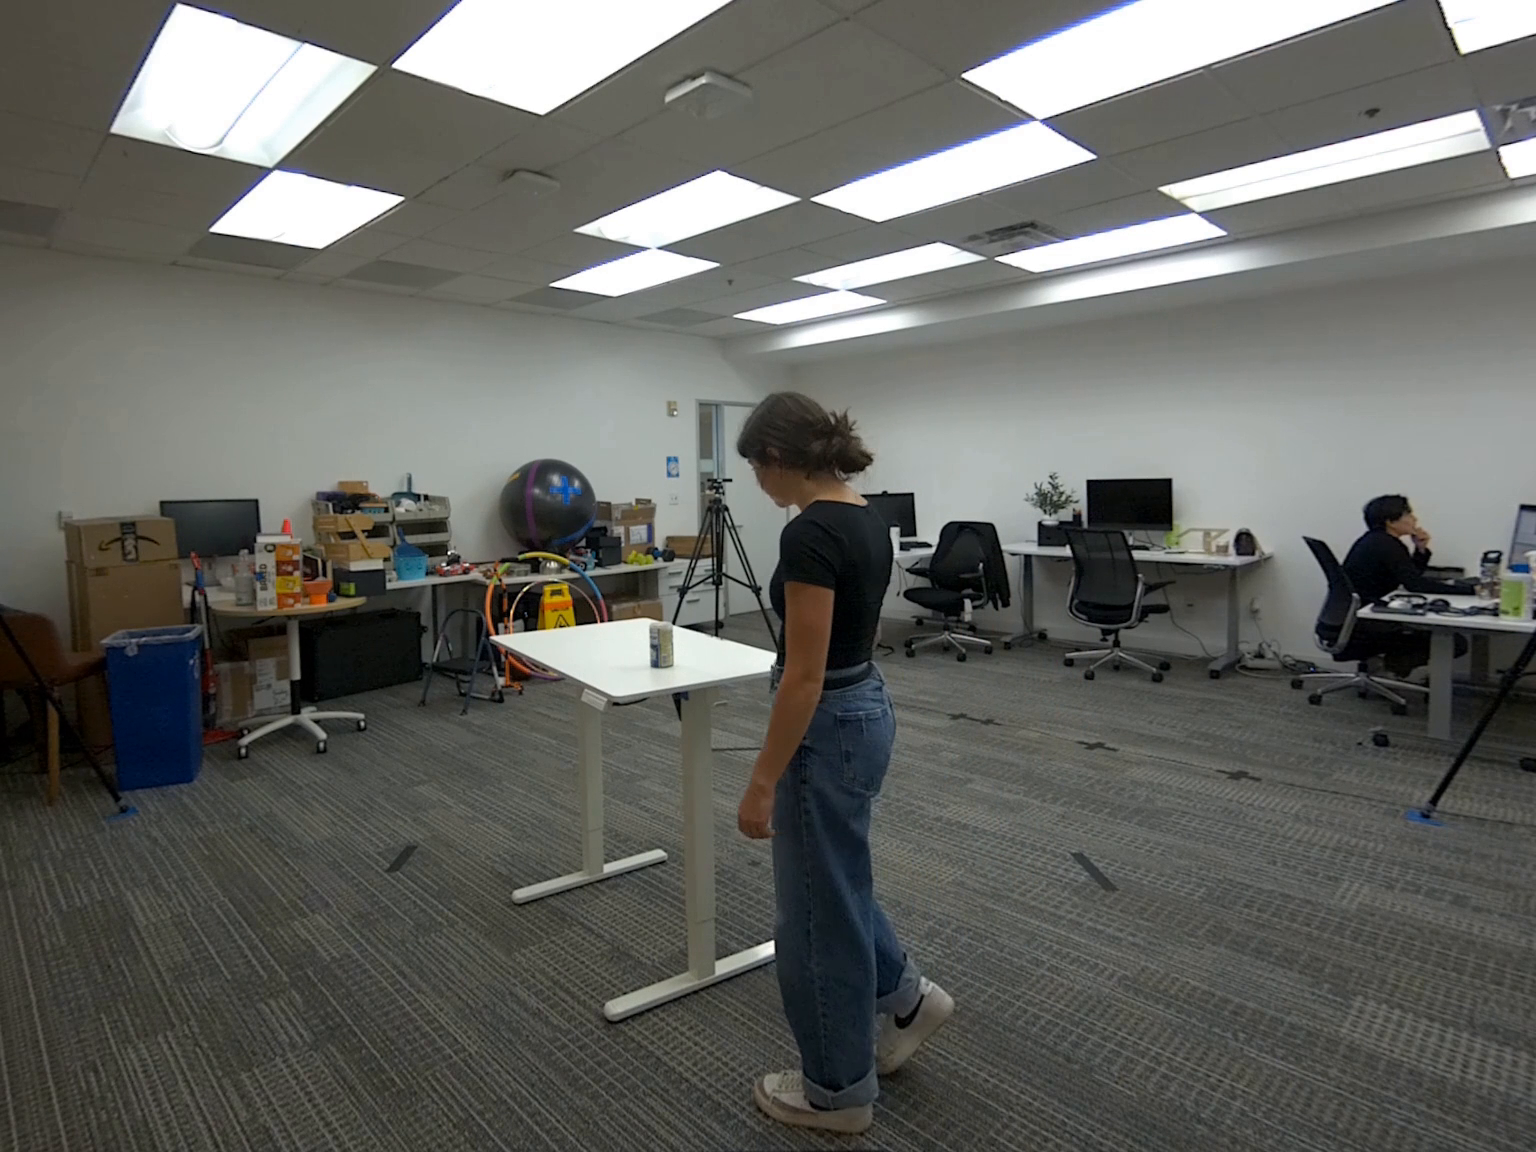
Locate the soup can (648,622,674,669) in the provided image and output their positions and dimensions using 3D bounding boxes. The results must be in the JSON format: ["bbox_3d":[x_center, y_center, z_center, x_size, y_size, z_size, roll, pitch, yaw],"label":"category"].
[{"bbox_3d":[-0.296,0.194,2.377,0.067,0.122,0.067,-4,-1,-2],"label":"soup can"}]
